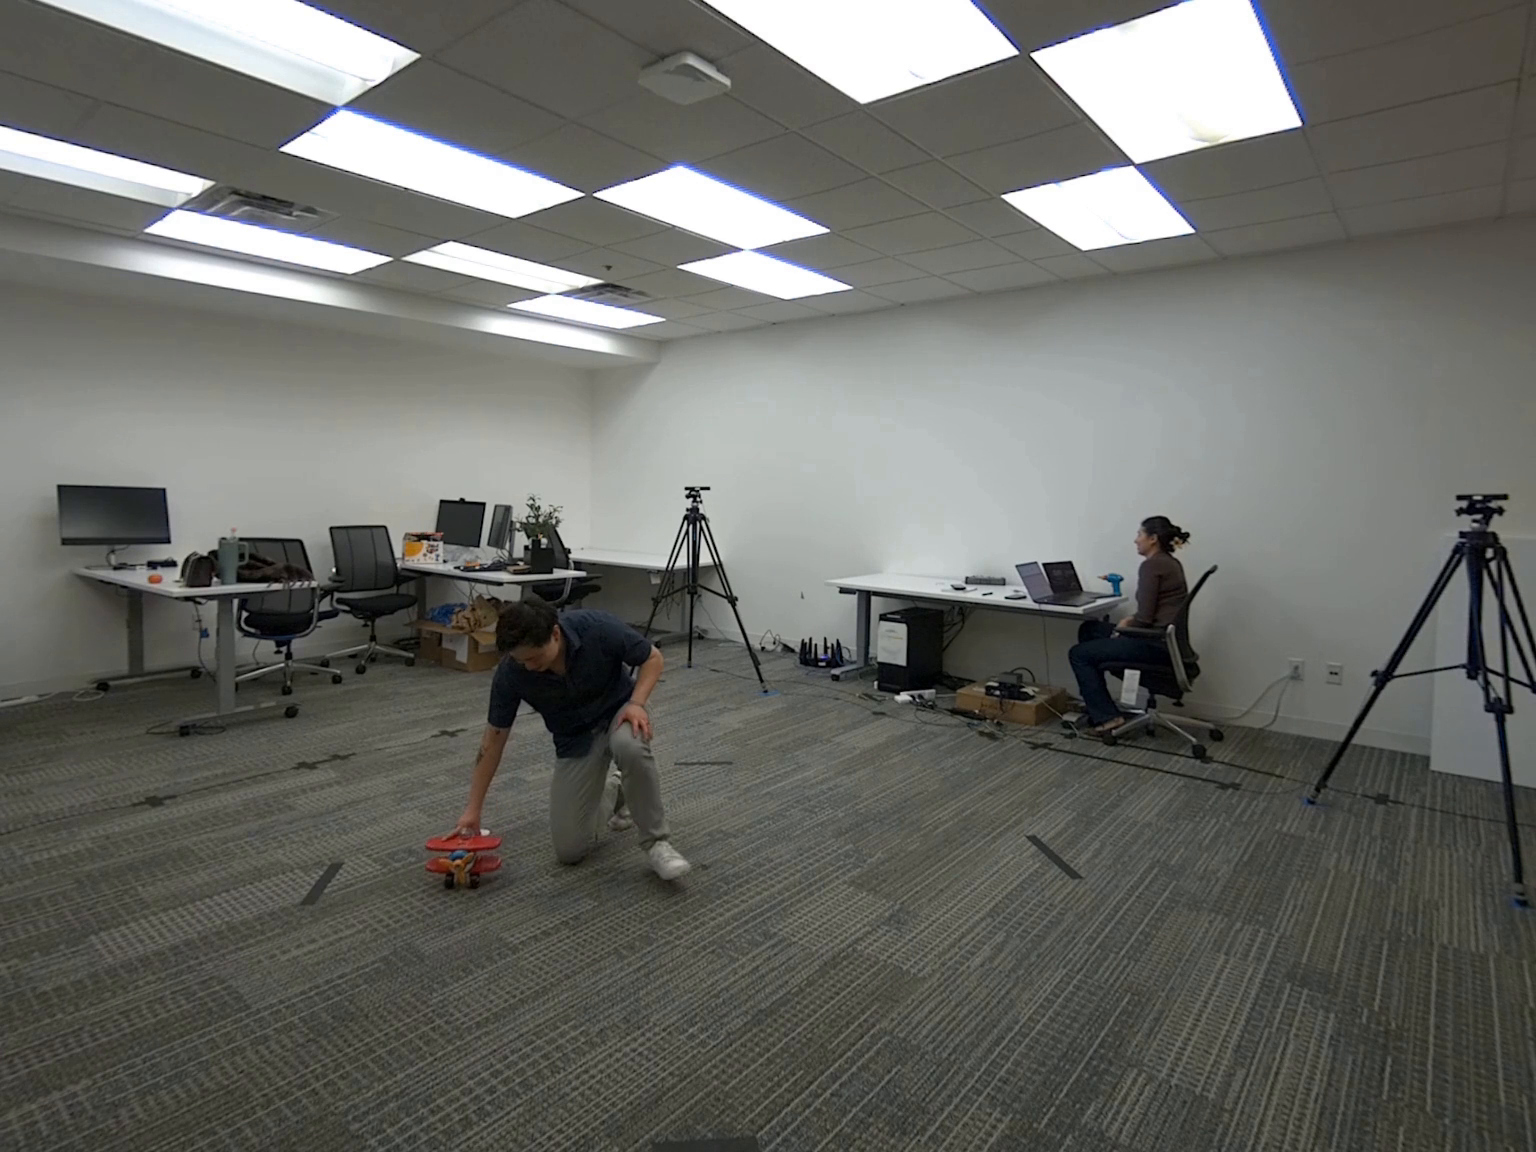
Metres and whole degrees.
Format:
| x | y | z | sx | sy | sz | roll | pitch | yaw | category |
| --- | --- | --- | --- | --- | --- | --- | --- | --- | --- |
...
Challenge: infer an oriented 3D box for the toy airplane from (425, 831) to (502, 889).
| x | y | z | sx | sy | sz | roll | pitch | yaw | category |
| --- | --- | --- | --- | --- | --- | --- | --- | --- | --- |
| -1.096 | 0.976 | 2.993 | 0.246 | 0.153 | 0.270 | -13 | 28 | -31 | toy airplane |
